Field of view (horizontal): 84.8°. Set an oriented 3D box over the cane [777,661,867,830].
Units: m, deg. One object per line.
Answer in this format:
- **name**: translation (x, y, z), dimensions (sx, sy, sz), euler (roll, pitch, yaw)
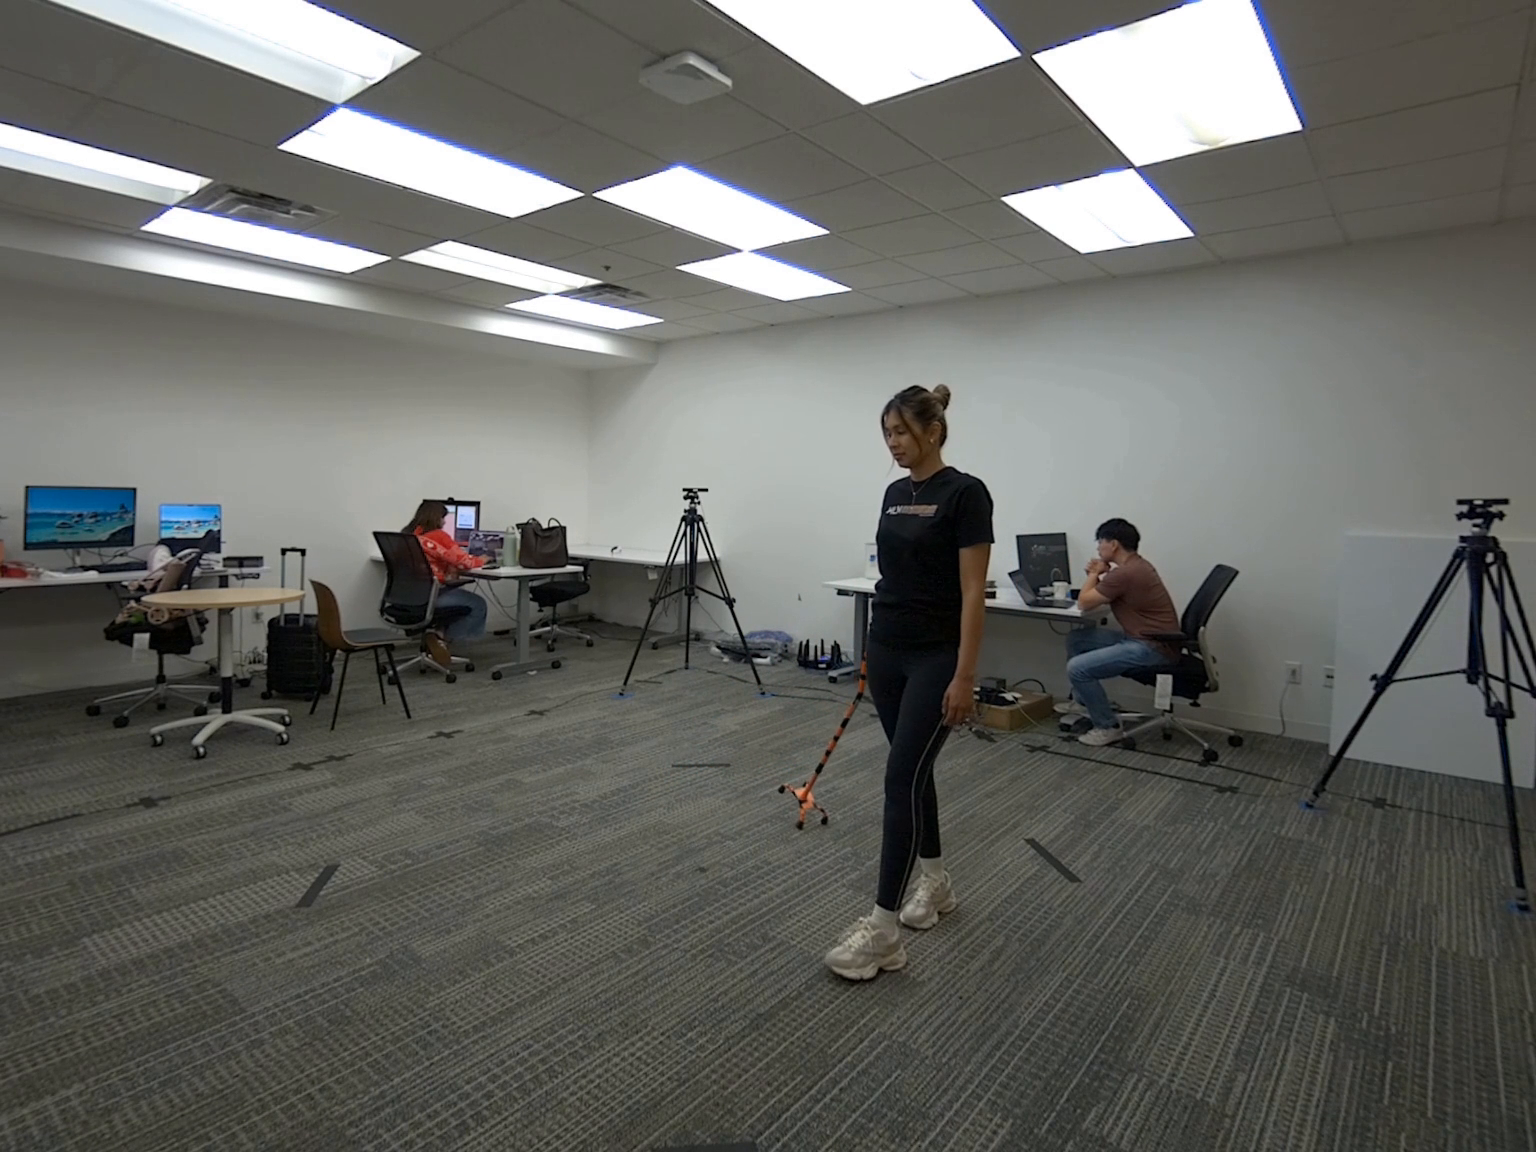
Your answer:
- **cane**: translation (0.273, 0.630, 3.355), dimensions (0.148, 0.895, 0.215), euler (1, 39, -27)
